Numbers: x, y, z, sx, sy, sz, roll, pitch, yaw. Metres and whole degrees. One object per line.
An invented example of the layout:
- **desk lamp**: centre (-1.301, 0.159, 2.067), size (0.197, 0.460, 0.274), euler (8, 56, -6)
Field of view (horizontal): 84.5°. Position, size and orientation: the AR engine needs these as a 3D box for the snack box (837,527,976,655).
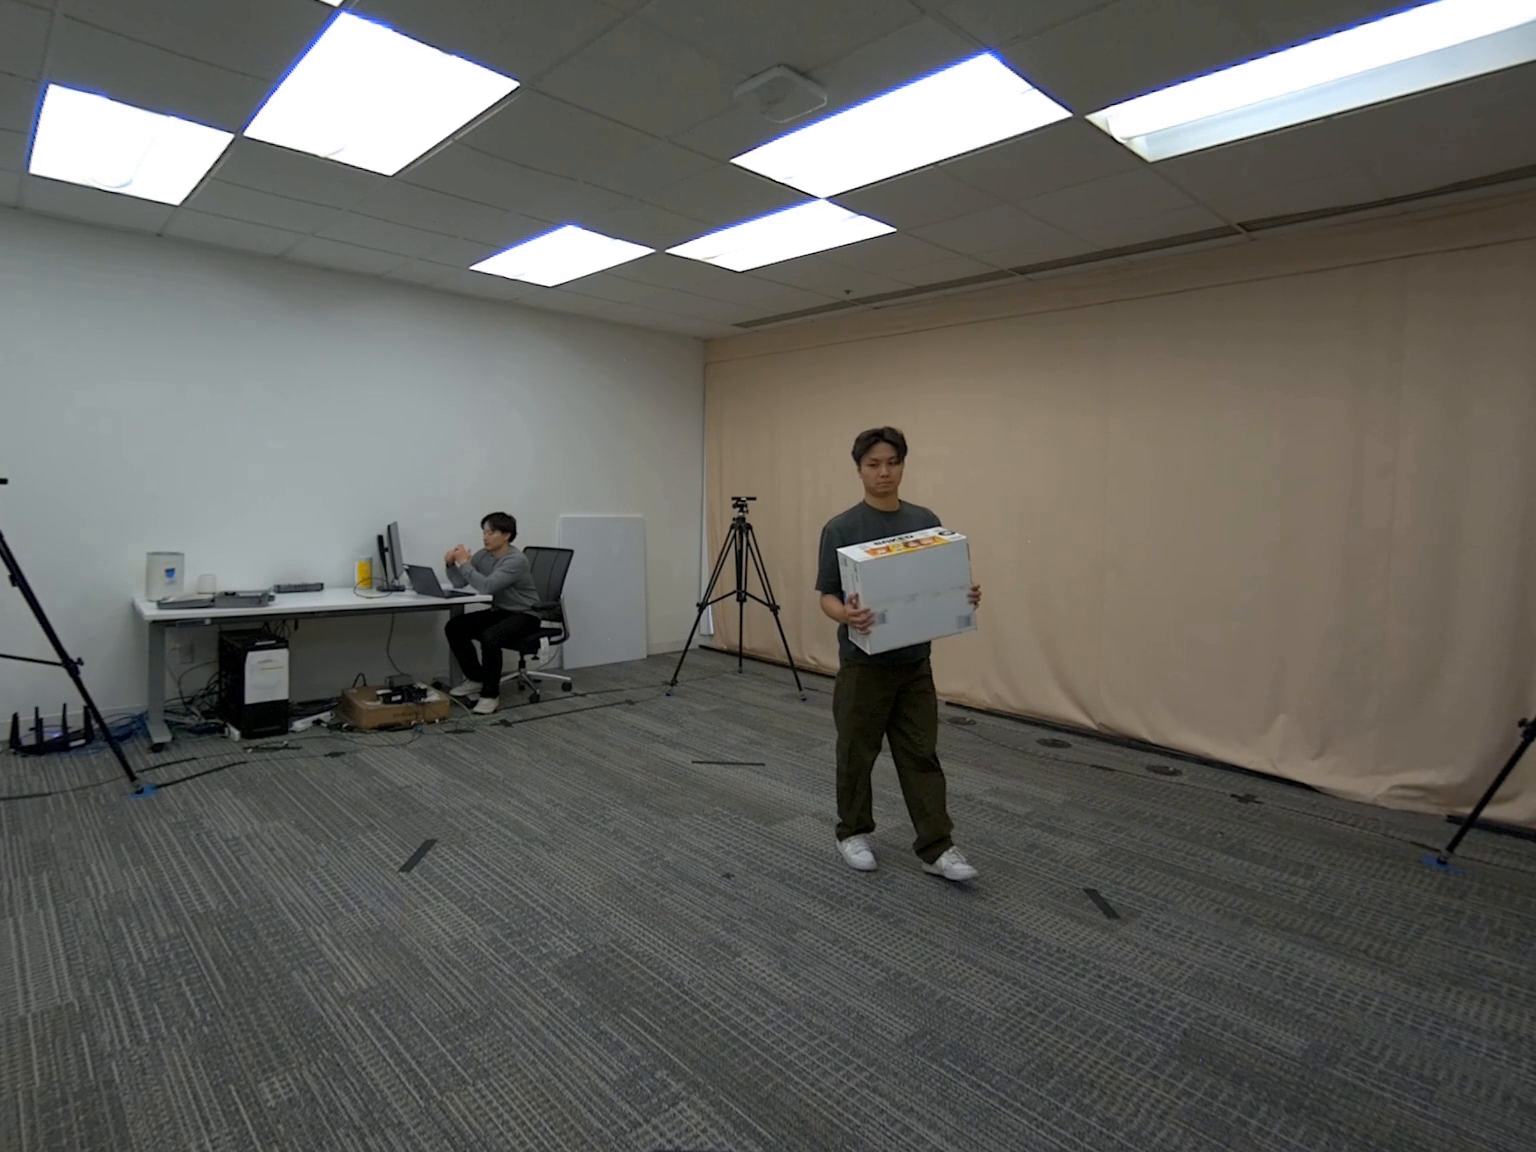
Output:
- **snack box**: centre (0.476, 0.048, 2.953), size (0.402, 0.337, 0.209), euler (-12, 12, -11)
